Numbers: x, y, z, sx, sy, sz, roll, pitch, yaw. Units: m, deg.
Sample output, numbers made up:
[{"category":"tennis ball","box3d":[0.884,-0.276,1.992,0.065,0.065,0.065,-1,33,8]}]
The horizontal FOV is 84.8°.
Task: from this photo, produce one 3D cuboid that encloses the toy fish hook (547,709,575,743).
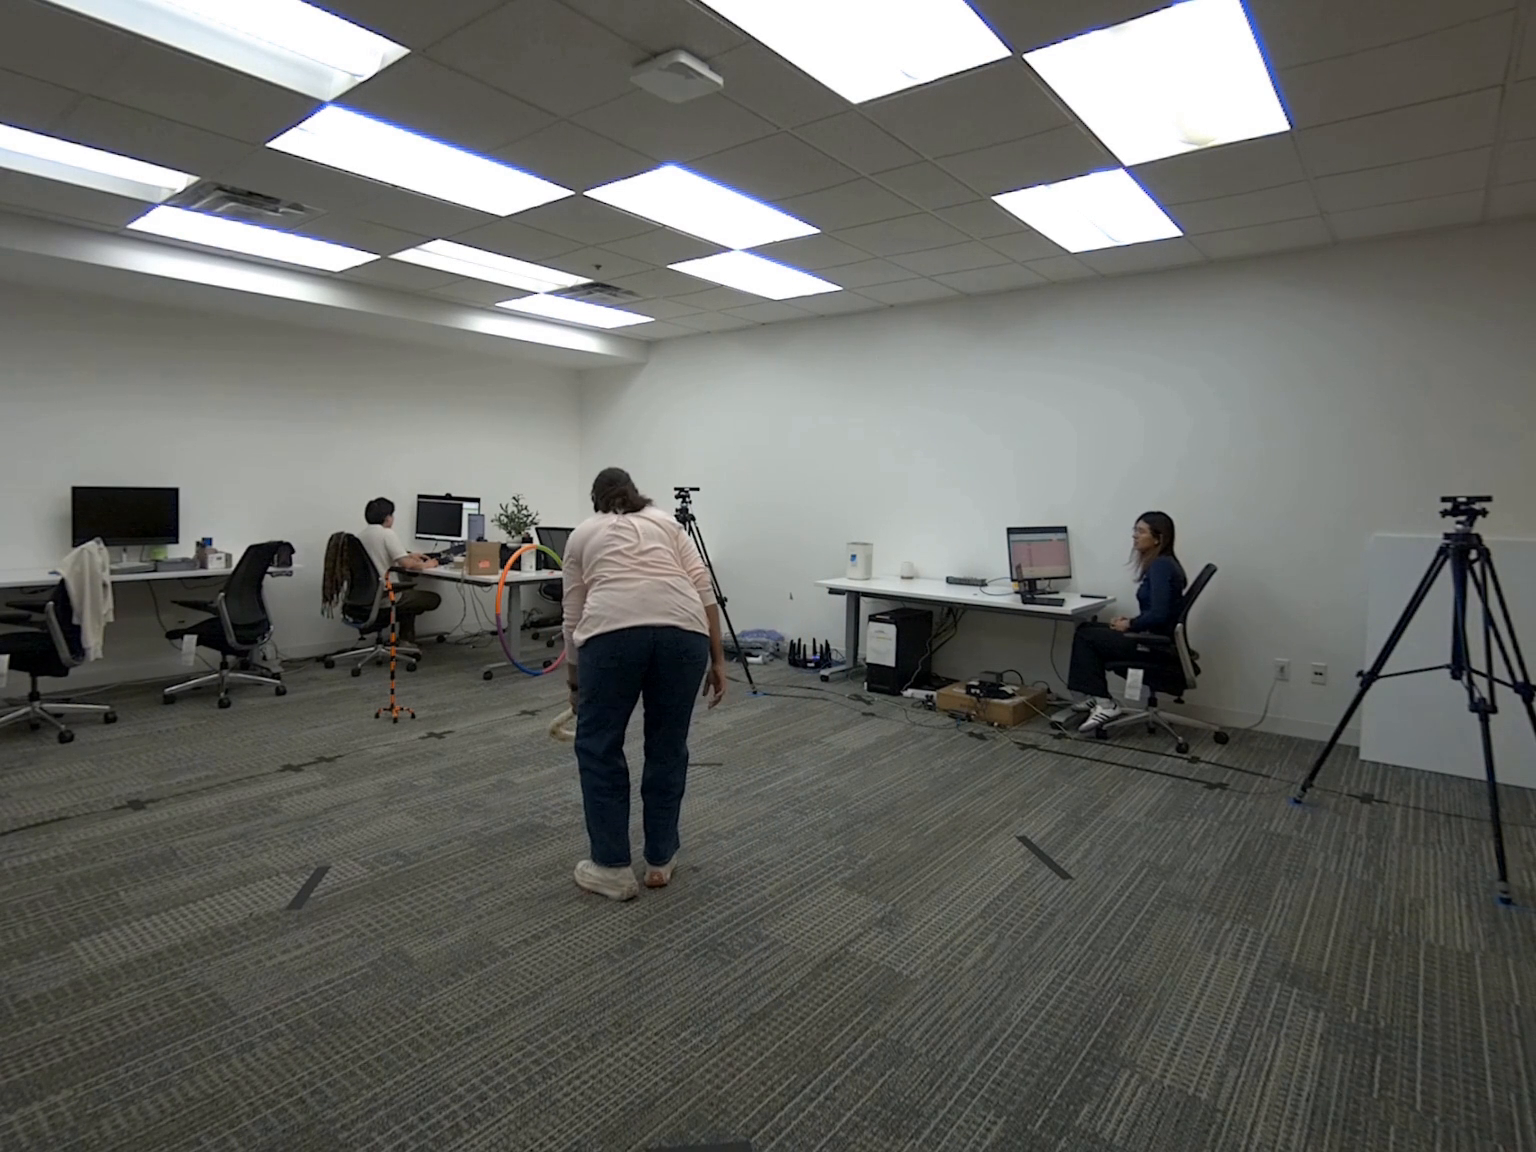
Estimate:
[{"category":"toy fish hook","box3d":[-0.753,0.558,3.399,0.218,0.050,0.506,9,-35,-27]}]
